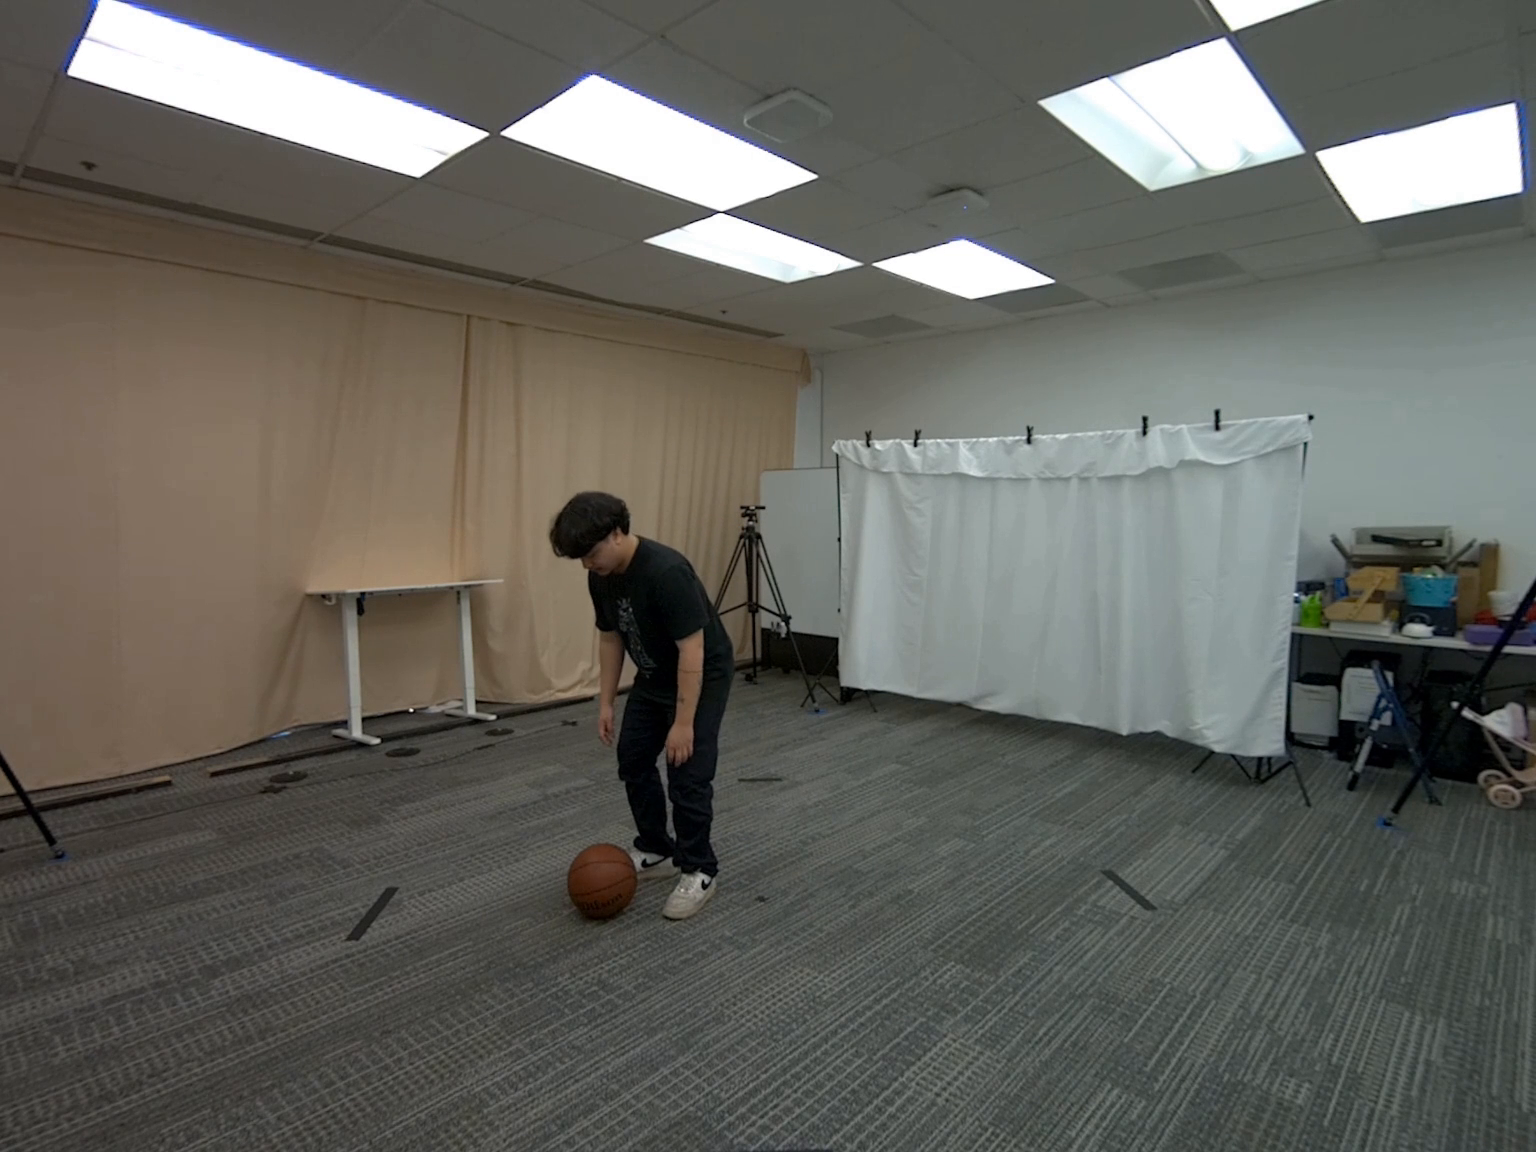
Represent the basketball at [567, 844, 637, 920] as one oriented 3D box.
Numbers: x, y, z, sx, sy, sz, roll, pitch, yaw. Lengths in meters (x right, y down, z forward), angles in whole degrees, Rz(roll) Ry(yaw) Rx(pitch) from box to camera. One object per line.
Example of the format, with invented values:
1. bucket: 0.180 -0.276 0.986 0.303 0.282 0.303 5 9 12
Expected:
1. basketball: -0.568 1.039 2.870 0.236 0.235 0.237 0 4 -2
